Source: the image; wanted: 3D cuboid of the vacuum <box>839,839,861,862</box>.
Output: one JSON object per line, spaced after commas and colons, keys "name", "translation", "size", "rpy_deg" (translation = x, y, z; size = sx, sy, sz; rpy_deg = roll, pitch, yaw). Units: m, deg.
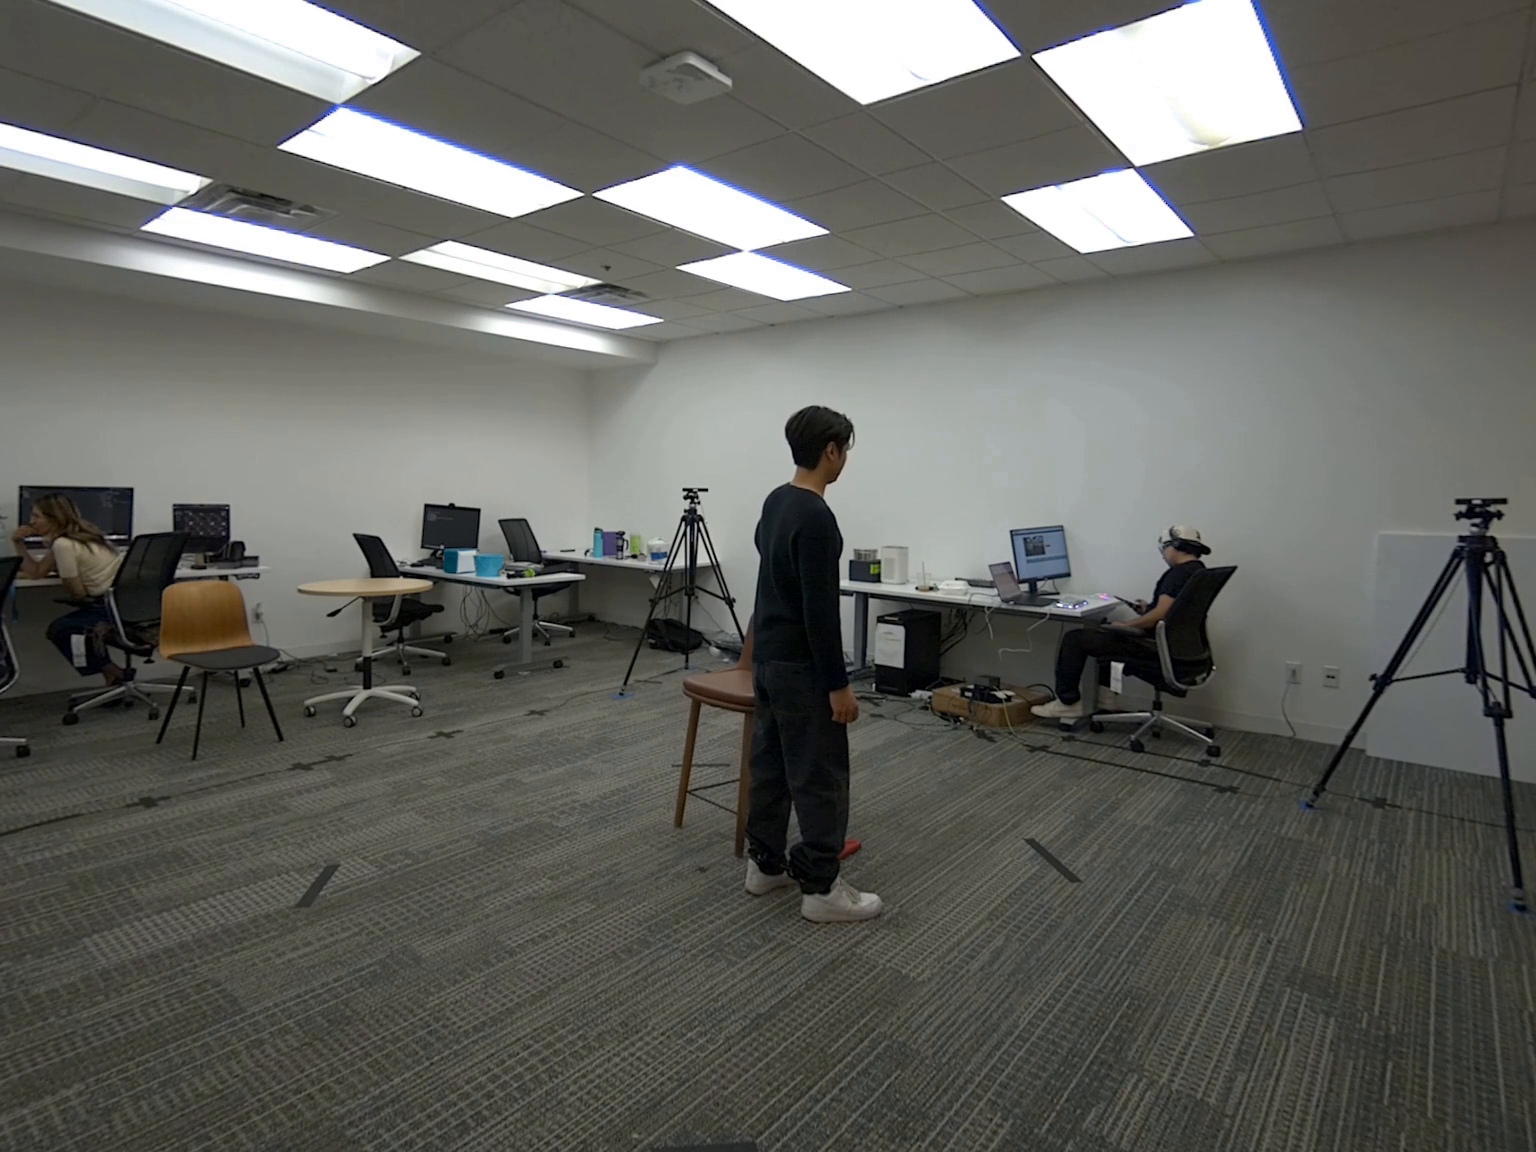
{"name": "vacuum", "translation": [0.159, 0.547, 3.334], "size": [0.147, 1.055, 0.245], "rpy_deg": [-13, -6, 37]}
